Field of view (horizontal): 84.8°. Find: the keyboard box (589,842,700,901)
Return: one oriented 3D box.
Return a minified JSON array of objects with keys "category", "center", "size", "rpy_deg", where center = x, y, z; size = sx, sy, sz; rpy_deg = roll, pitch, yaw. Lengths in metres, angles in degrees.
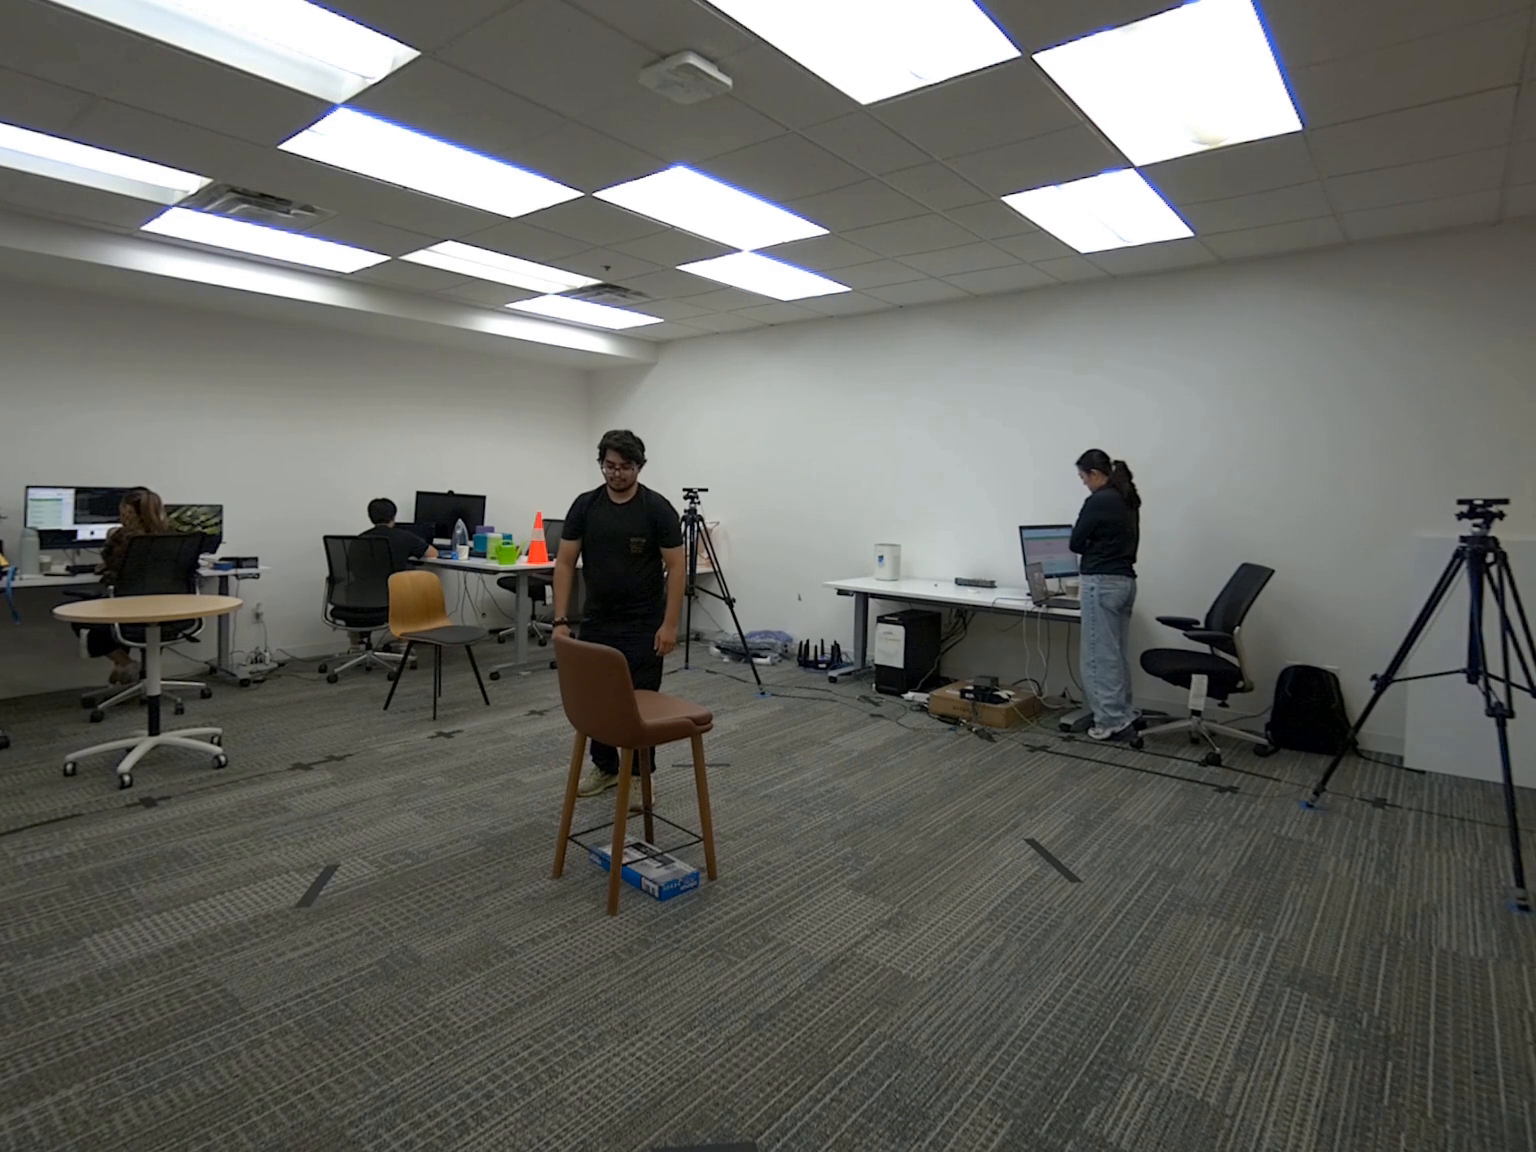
[{"category":"keyboard box","center":[-0.466,1.042,3.076],"size":[0.171,0.059,0.452],"rpy_deg":[-5,8,-43]}]
